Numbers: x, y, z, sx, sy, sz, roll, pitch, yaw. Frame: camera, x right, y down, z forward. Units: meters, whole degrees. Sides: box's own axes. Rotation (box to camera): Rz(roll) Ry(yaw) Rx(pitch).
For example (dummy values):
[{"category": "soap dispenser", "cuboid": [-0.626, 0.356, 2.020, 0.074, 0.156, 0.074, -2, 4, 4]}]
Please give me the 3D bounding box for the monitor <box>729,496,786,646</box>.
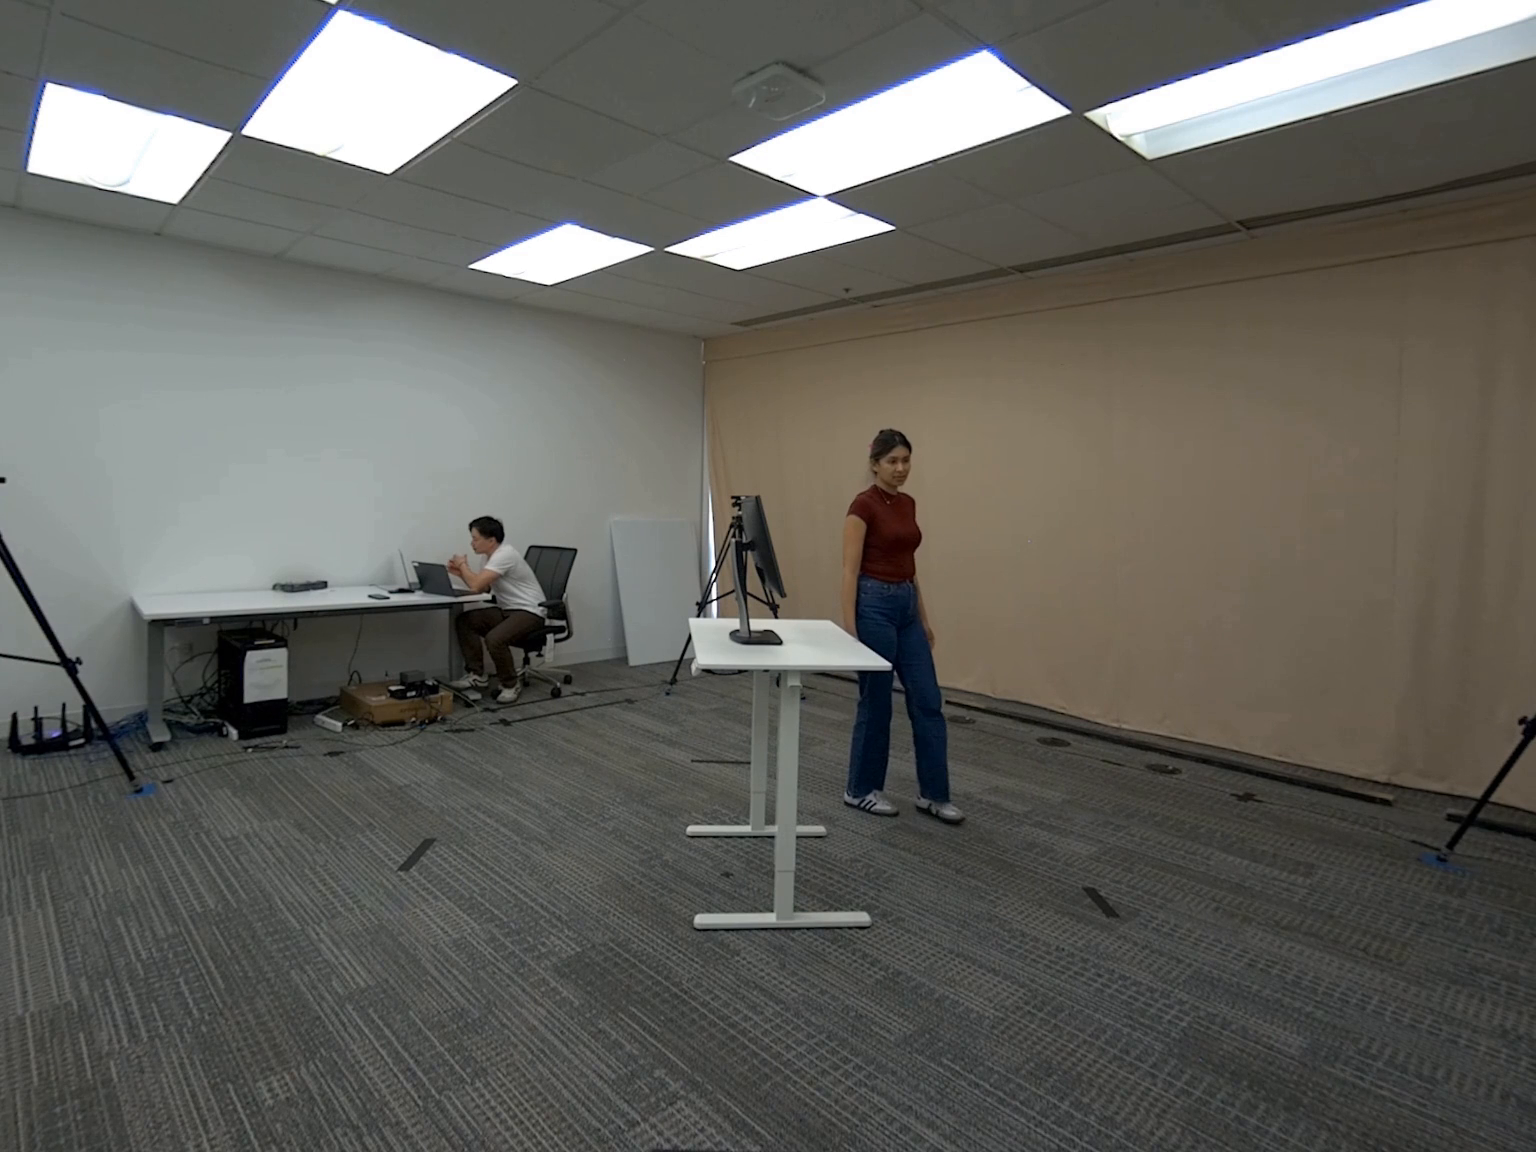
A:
[{"category": "monitor", "cuboid": [-0.059, -0.025, 3.035, 0.186, 0.521, 0.543, -1, 4, -9]}]
